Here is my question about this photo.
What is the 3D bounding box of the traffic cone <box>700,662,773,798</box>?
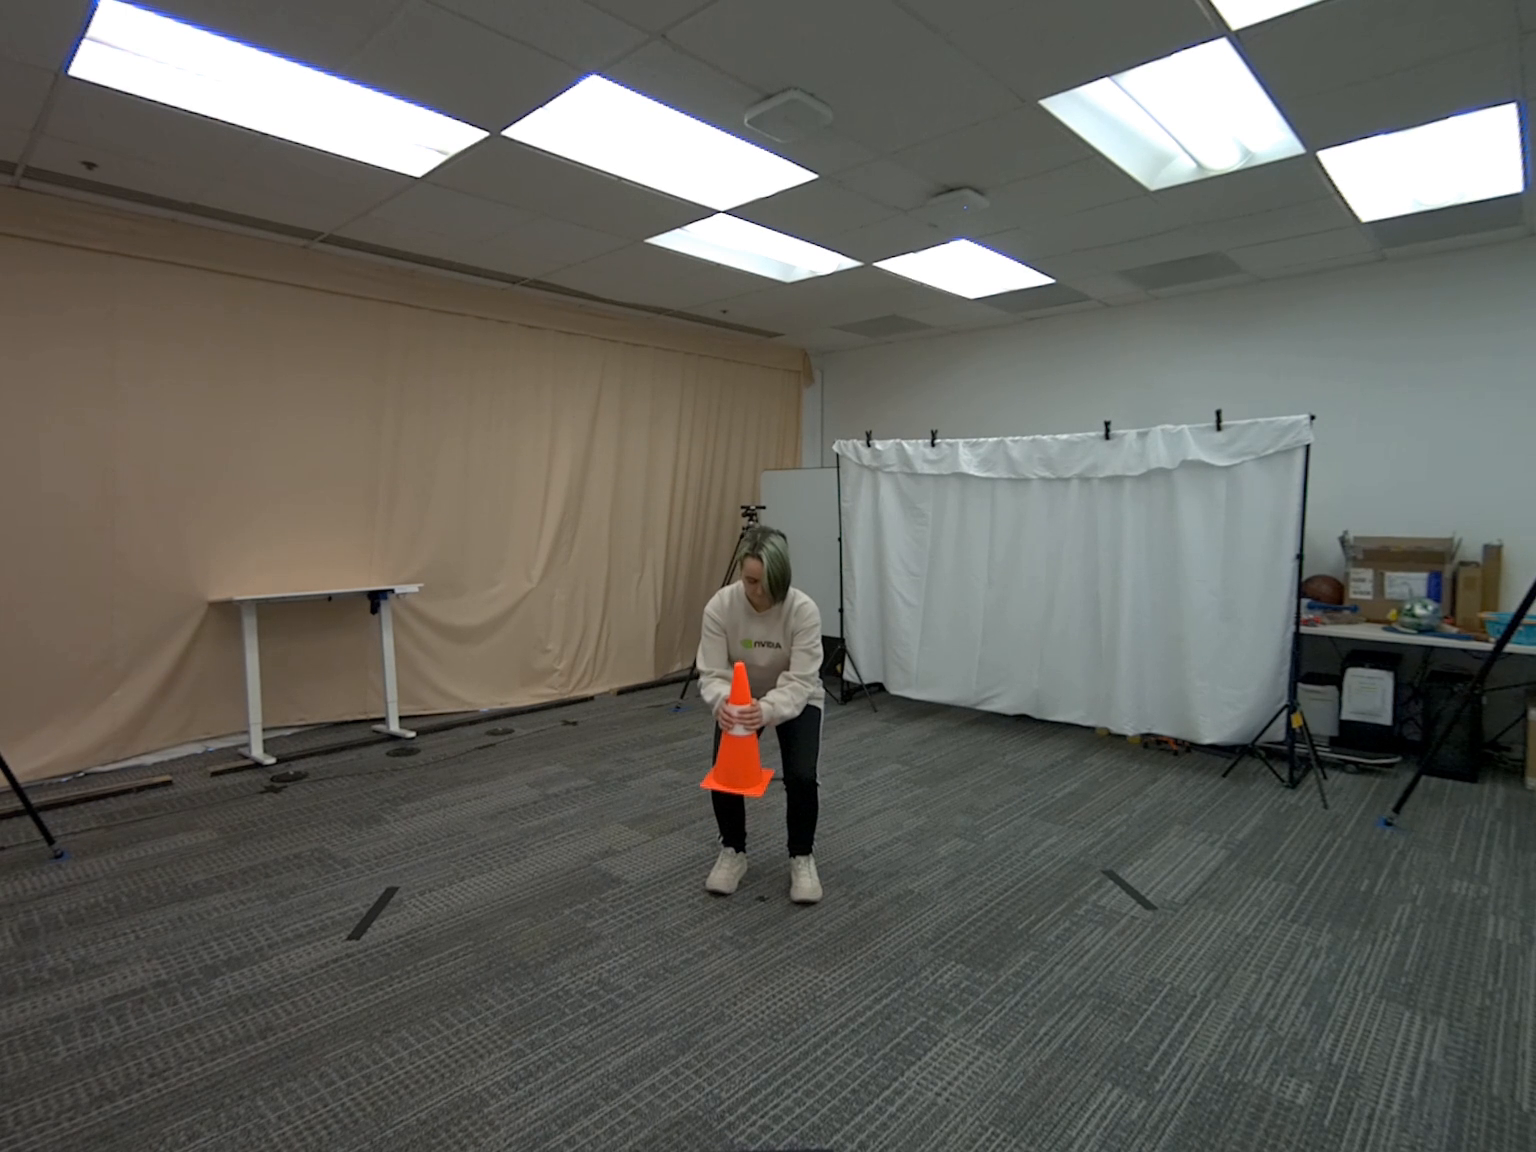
[{"bbox_3d":[-0.091,0.457,2.640,0.209,0.381,0.201,2,10,16],"label":"traffic cone"}]
